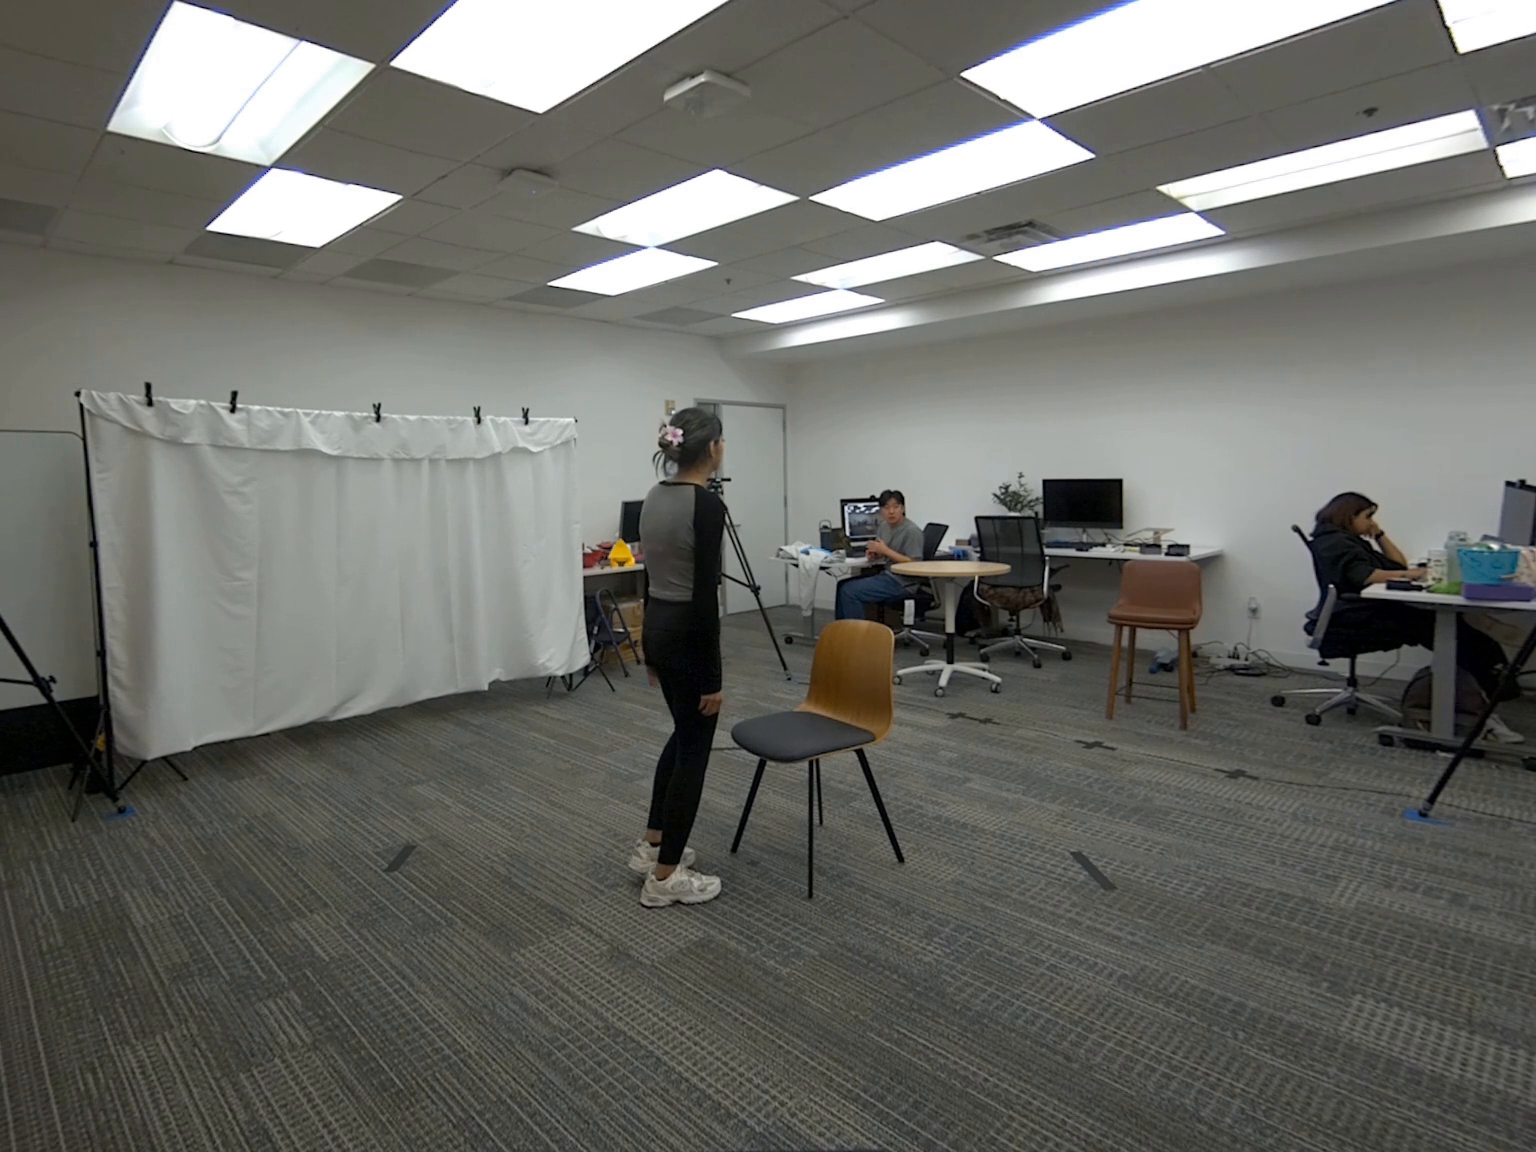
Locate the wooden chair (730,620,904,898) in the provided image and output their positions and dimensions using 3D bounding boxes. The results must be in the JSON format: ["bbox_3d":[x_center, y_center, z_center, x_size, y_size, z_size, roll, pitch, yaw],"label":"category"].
[{"bbox_3d":[0.165,0.611,3.102,0.508,0.876,0.492,1,2,-37],"label":"wooden chair"}]
